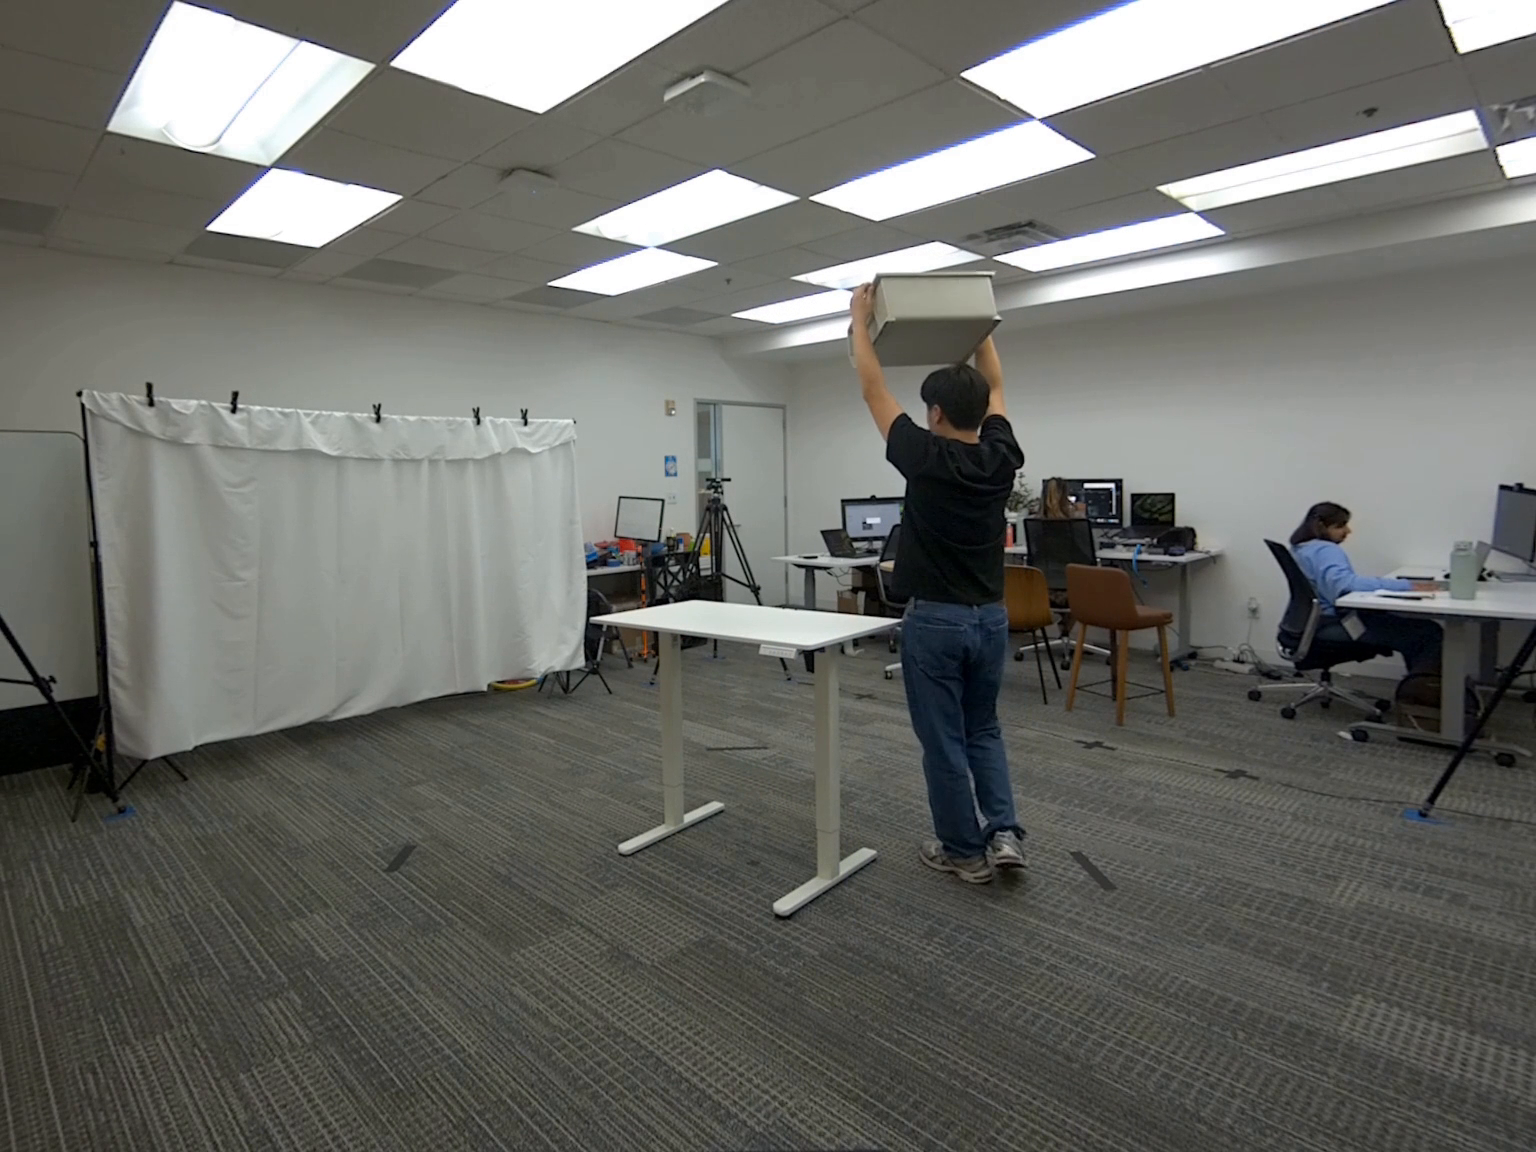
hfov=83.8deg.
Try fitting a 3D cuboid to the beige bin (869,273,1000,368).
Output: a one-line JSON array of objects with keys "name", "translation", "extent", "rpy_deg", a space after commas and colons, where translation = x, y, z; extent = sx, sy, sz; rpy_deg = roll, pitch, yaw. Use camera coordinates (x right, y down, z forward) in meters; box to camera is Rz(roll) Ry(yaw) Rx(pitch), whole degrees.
[{"name": "beige bin", "translation": [0.542, -0.884, 3.013], "extent": [0.418, 0.192, 0.375], "rpy_deg": [-4, -16, -12]}]
